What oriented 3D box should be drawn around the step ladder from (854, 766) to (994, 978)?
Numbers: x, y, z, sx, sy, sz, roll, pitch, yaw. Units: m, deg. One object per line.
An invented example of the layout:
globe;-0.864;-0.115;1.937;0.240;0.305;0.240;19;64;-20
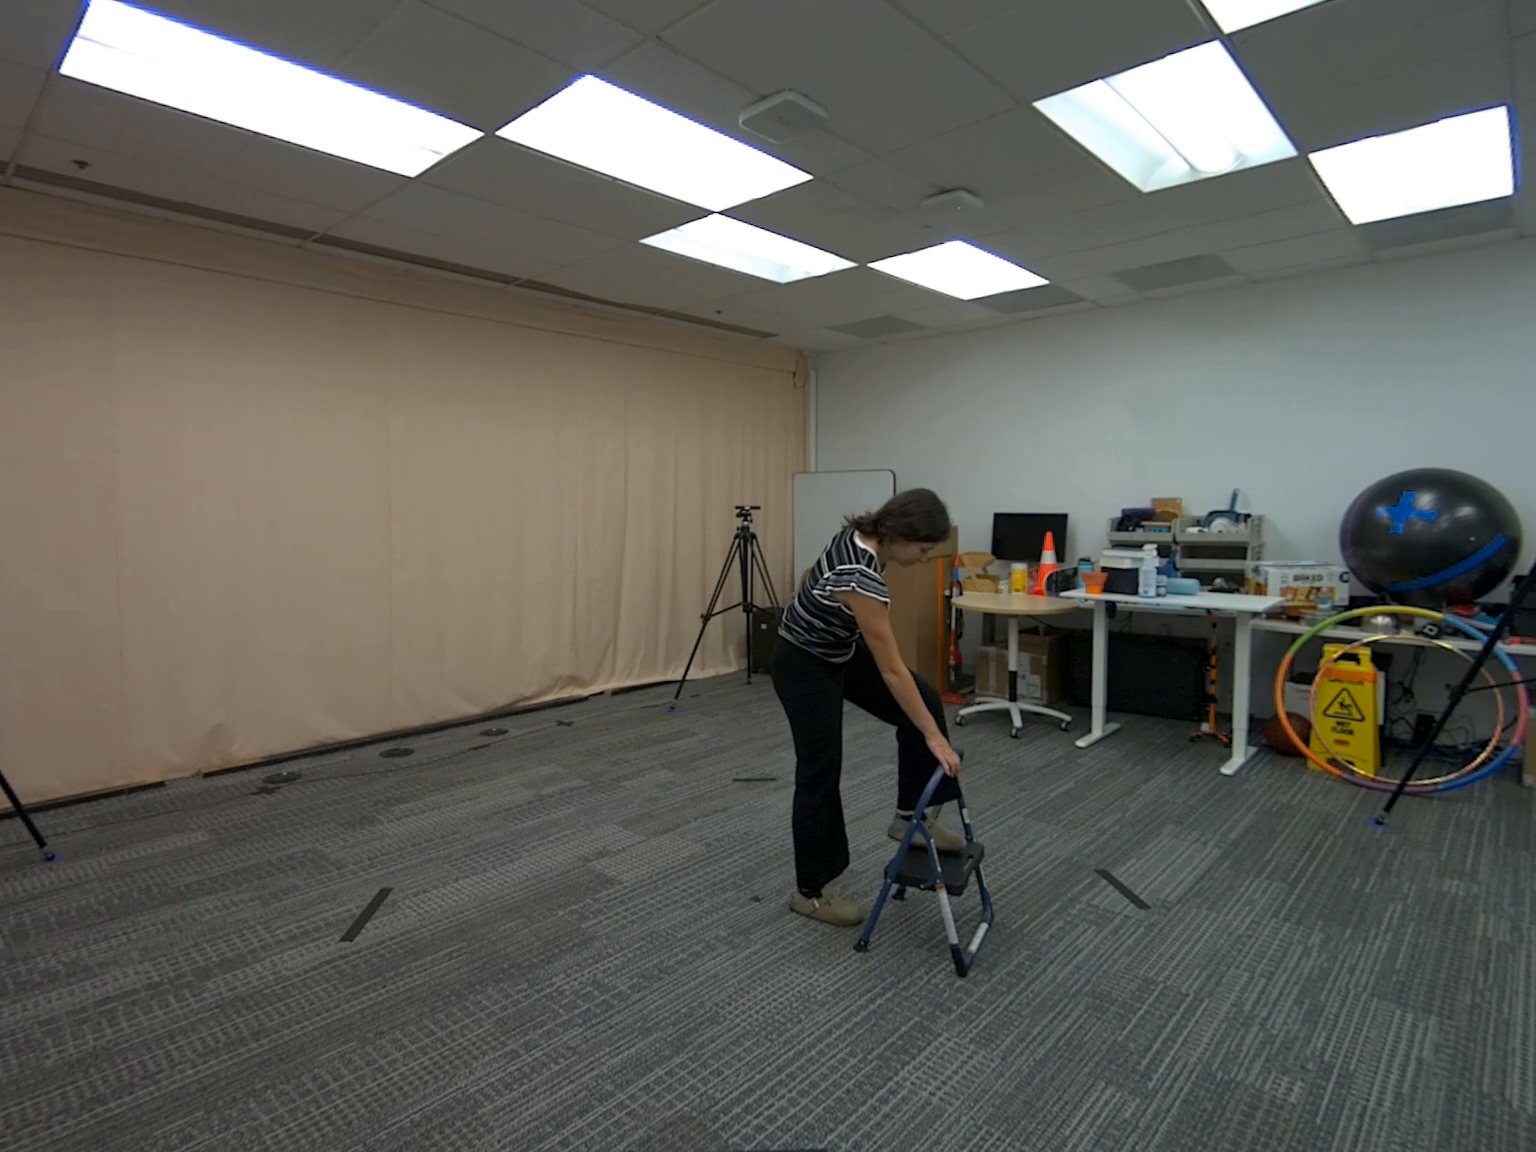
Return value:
step ladder;0.521;0.863;2.718;0.359;0.605;0.420;2;4;27
